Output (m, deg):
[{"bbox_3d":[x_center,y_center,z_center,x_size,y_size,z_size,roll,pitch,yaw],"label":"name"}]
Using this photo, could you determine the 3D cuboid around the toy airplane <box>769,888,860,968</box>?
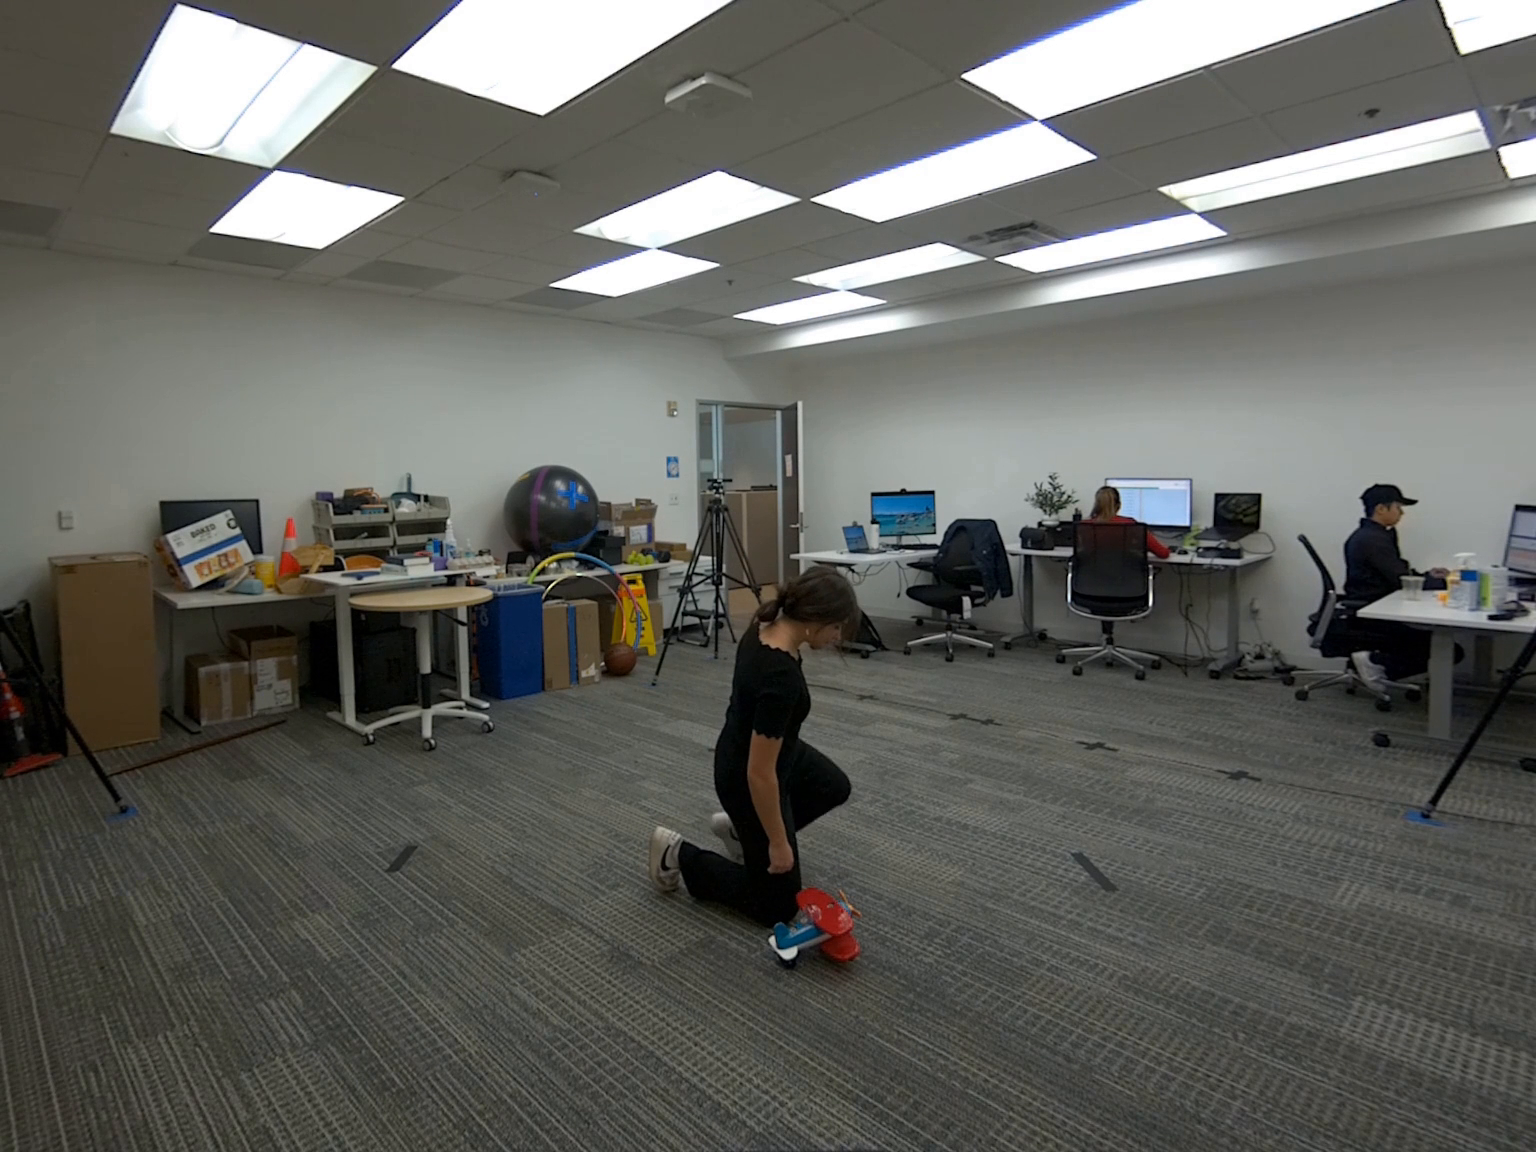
[{"bbox_3d":[0.148,1.047,2.469,0.259,0.156,0.253,5,8,38],"label":"toy airplane"}]
